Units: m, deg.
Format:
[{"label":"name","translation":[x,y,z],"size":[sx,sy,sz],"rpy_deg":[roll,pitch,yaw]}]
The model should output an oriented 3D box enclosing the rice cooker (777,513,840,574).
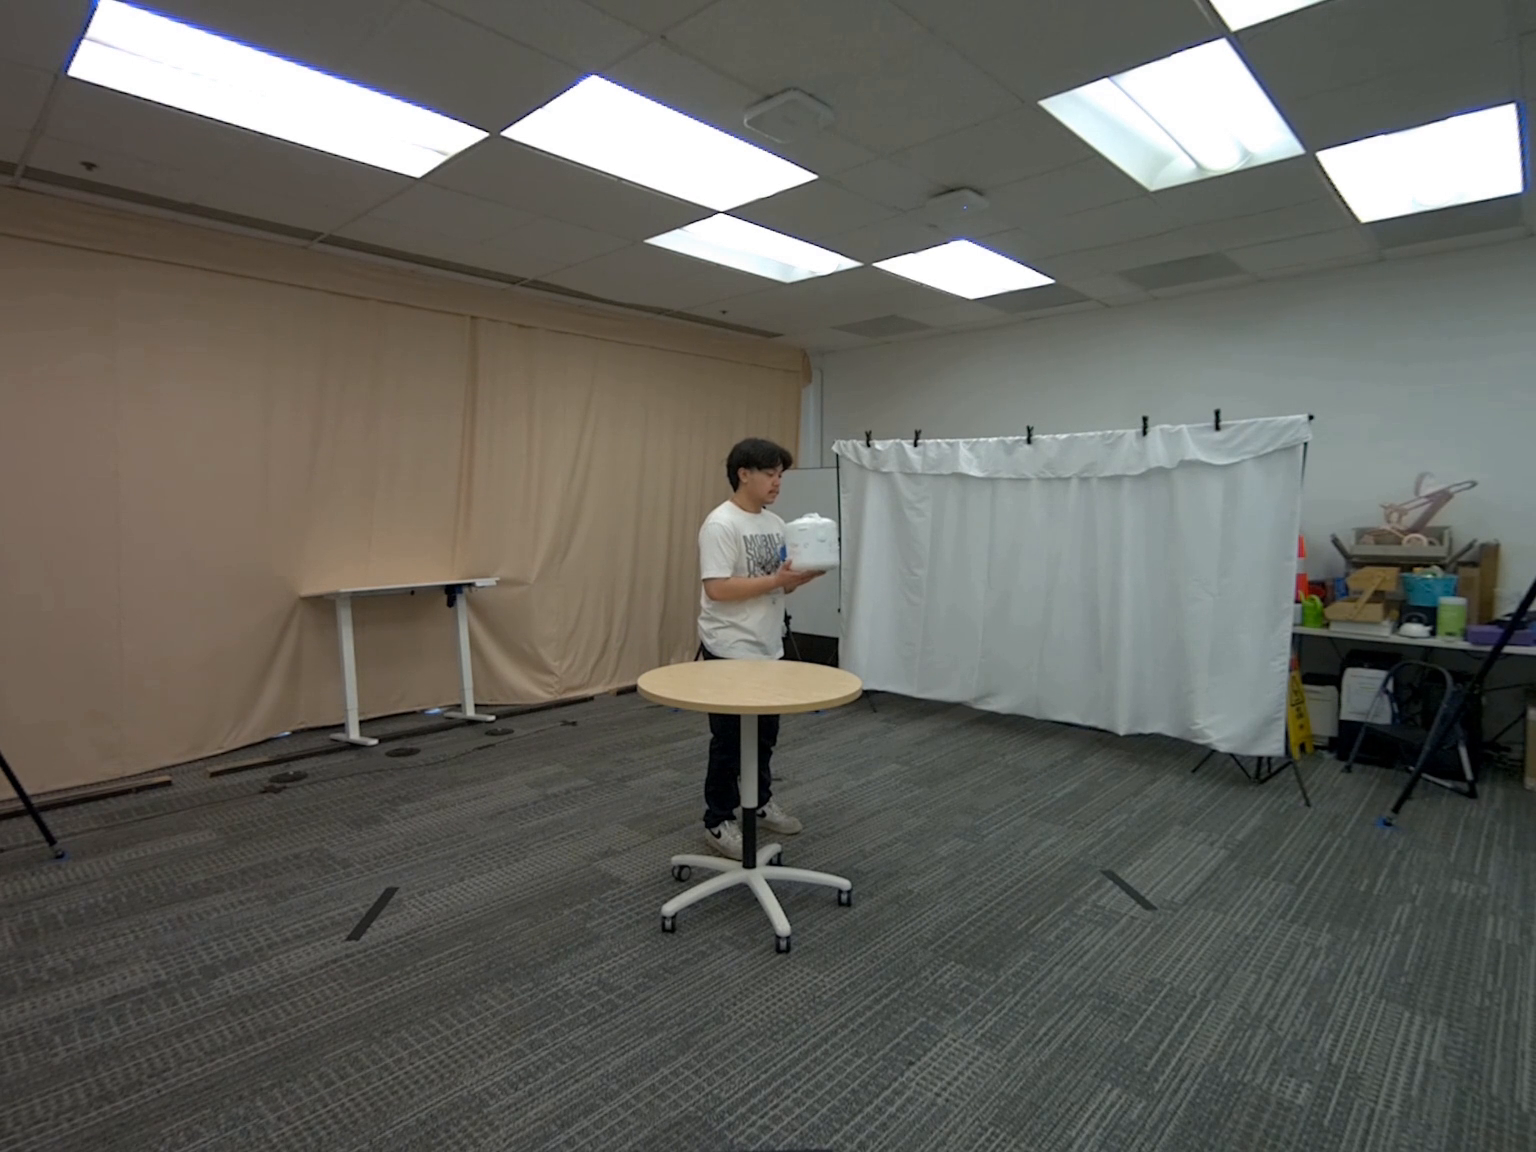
[{"label":"rice cooker","translation":[0.173,-0.130,3.318],"size":[0.213,0.233,0.224],"rpy_deg":[-3,-4,-19]}]
